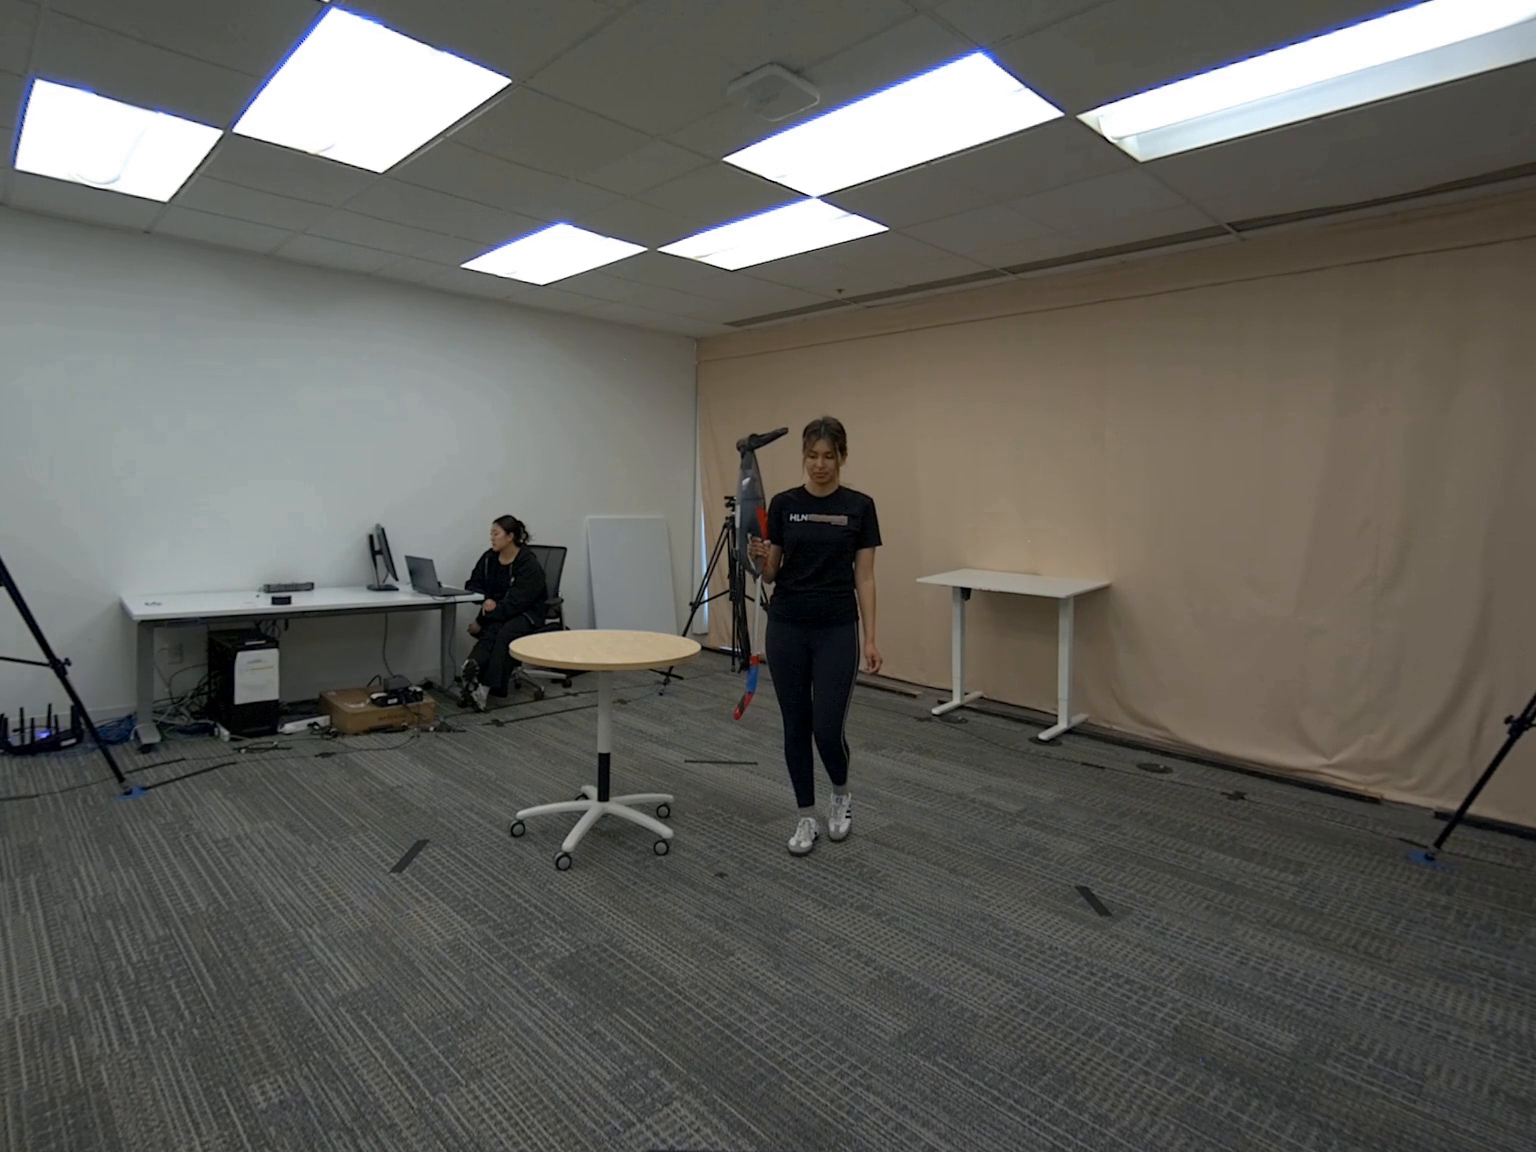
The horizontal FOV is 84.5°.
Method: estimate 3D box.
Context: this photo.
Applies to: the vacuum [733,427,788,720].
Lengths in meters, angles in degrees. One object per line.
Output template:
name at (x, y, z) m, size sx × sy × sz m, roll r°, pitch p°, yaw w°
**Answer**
vacuum at (-0.077, -0.004, 3.112) m, size 0.142 × 1.054 × 0.255 m, roll 6°, pitch -6°, yaw -19°
